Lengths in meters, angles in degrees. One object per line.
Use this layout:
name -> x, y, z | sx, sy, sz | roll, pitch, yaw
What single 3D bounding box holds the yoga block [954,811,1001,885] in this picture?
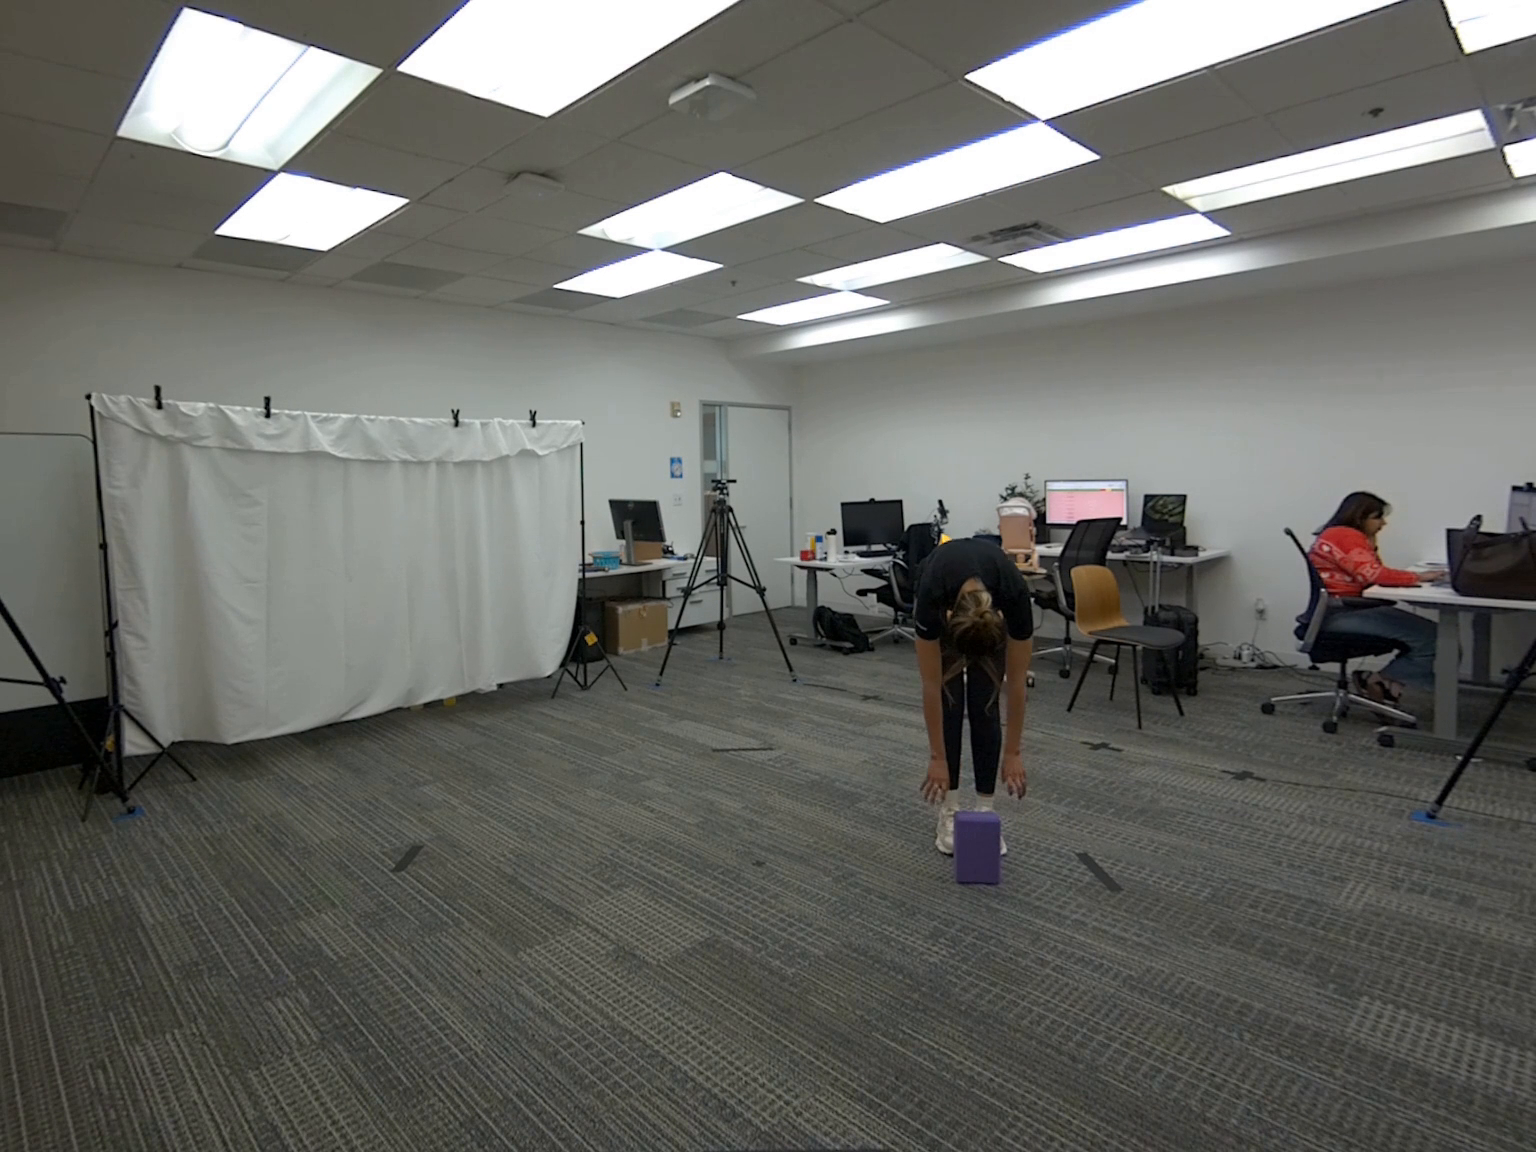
yoga block -> 0.722, 0.933, 2.944 | 0.149, 0.229, 0.076 | -2, 3, 4
